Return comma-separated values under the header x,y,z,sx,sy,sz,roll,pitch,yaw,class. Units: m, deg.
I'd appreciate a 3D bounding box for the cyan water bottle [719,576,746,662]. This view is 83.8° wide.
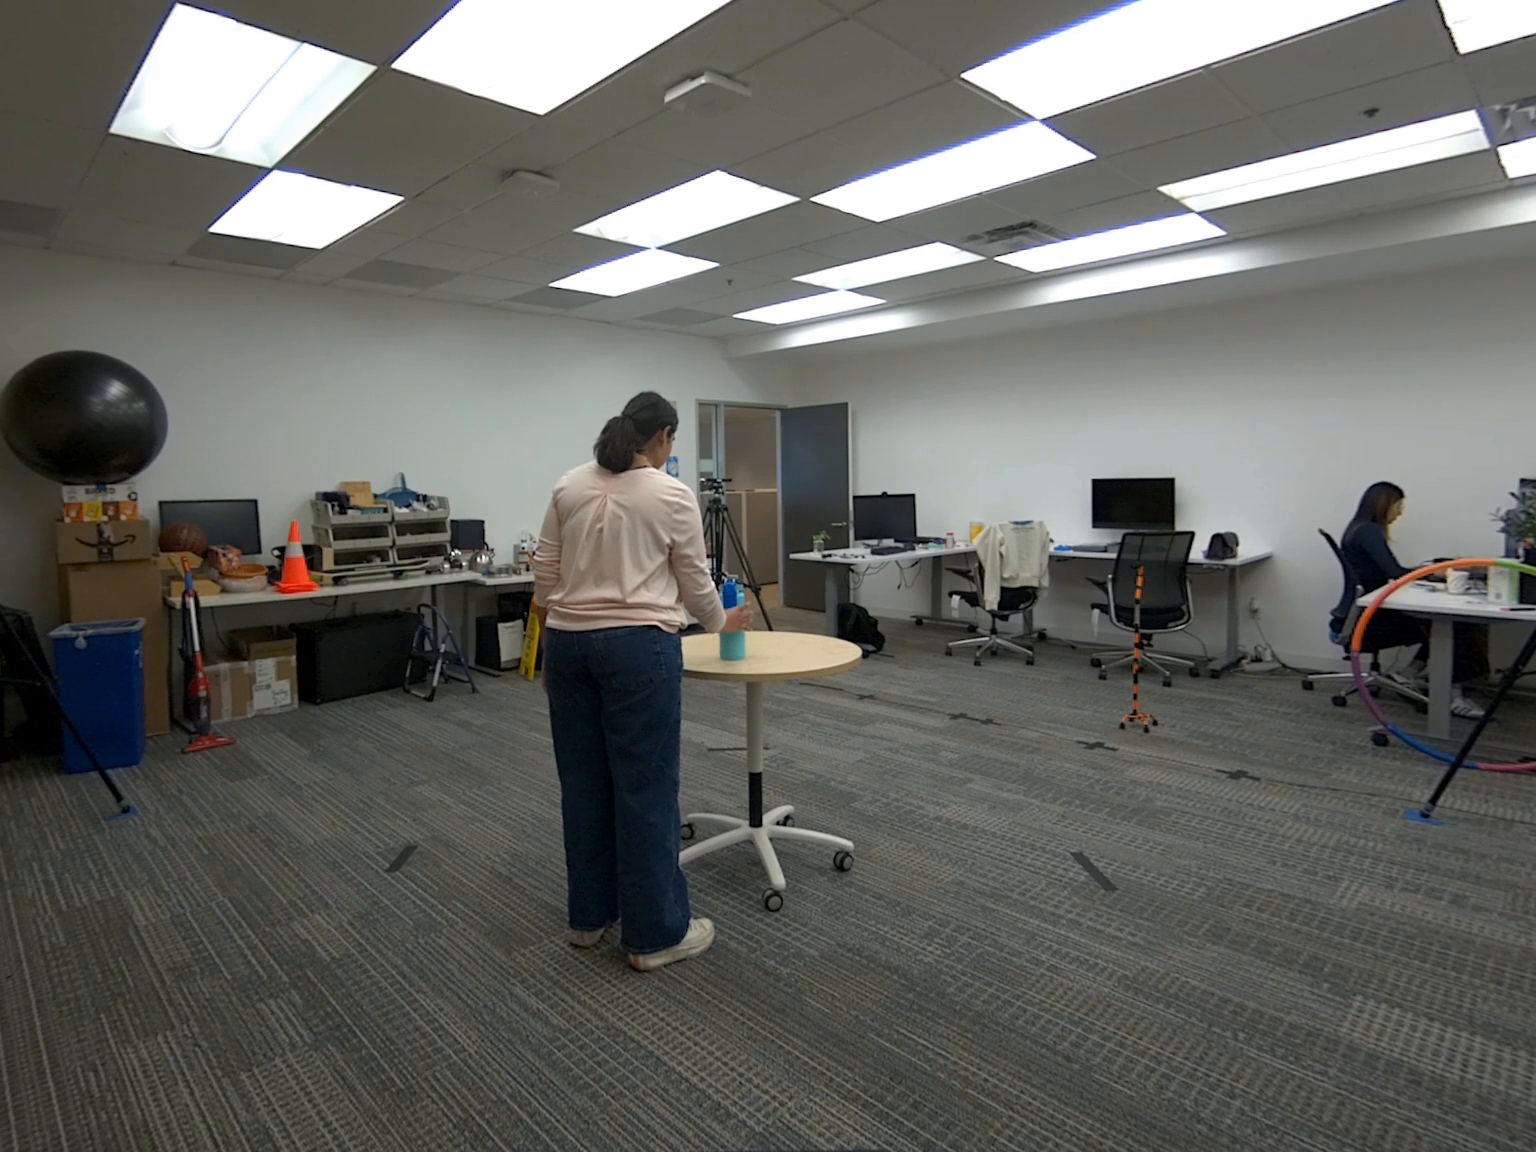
x,y,z,sx,sy,sz,roll,pitch,yaw,class
-0.120,0.145,2.917,0.092,0.283,0.092,-2,2,-2,cyan water bottle
